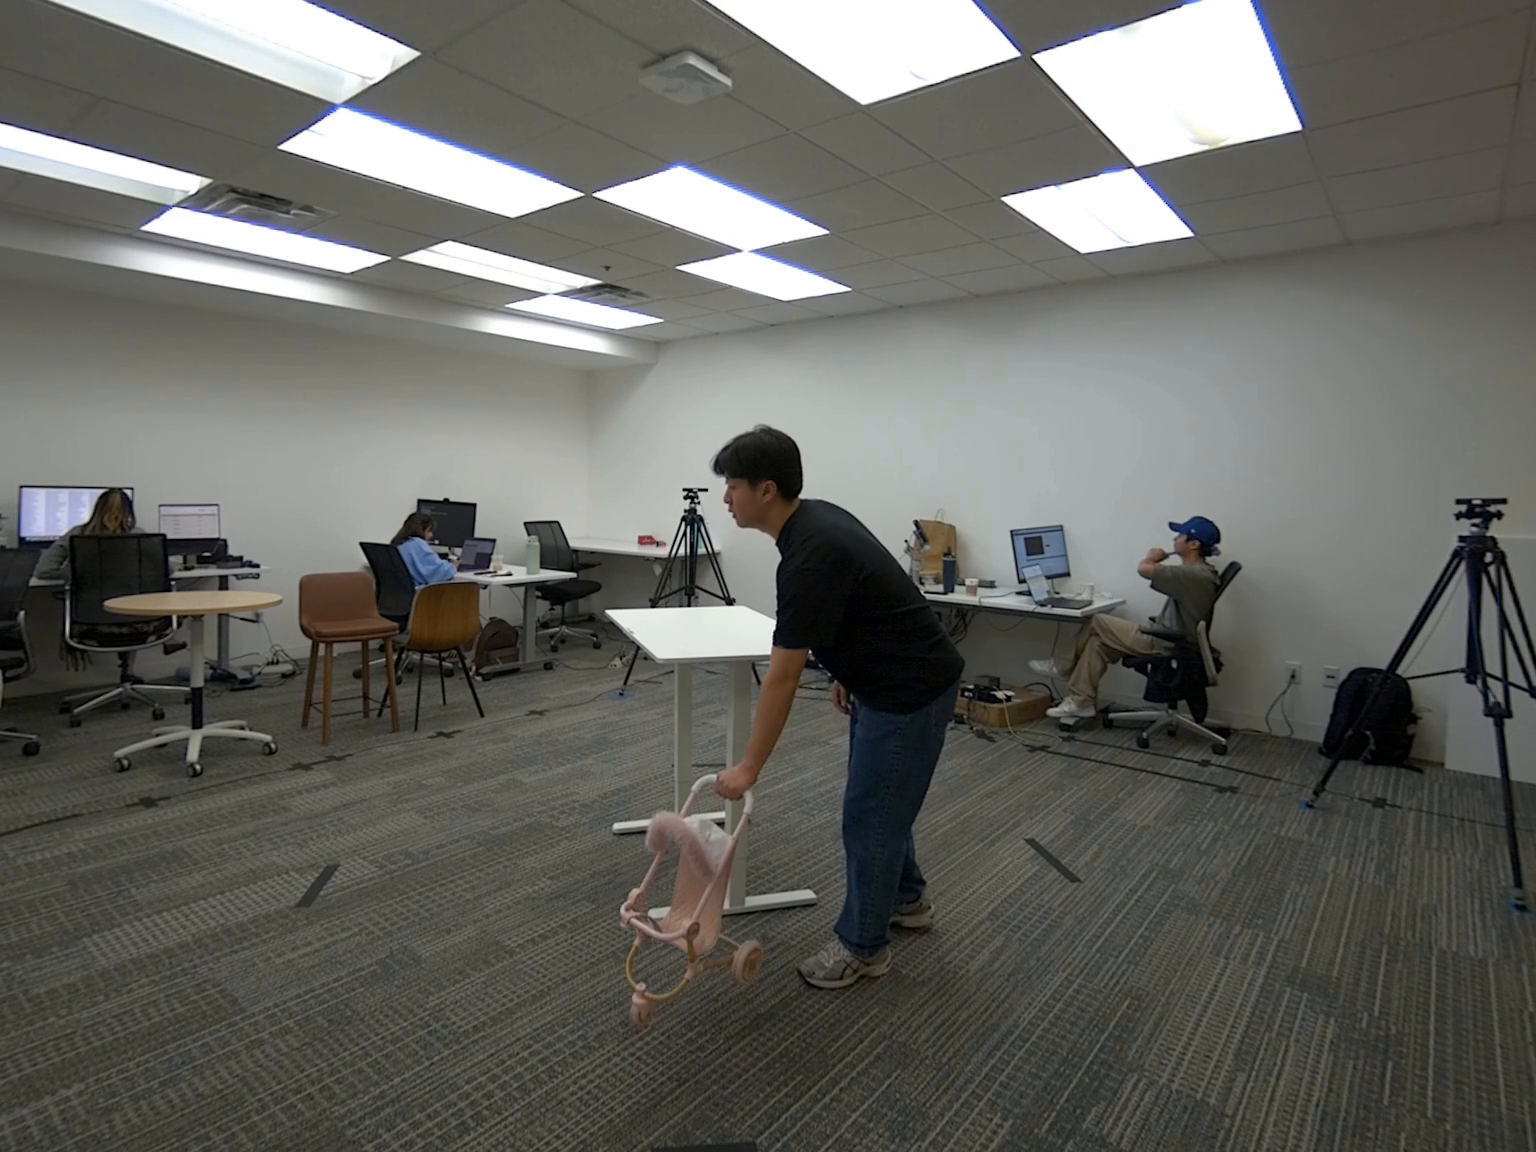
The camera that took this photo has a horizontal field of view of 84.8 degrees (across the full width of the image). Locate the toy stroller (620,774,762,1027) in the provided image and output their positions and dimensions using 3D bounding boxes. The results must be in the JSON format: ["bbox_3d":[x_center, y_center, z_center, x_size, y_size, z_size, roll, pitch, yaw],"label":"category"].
[{"bbox_3d":[-0.215,0.825,2.114,0.292,0.533,0.330,9,7,44],"label":"toy stroller"}]
